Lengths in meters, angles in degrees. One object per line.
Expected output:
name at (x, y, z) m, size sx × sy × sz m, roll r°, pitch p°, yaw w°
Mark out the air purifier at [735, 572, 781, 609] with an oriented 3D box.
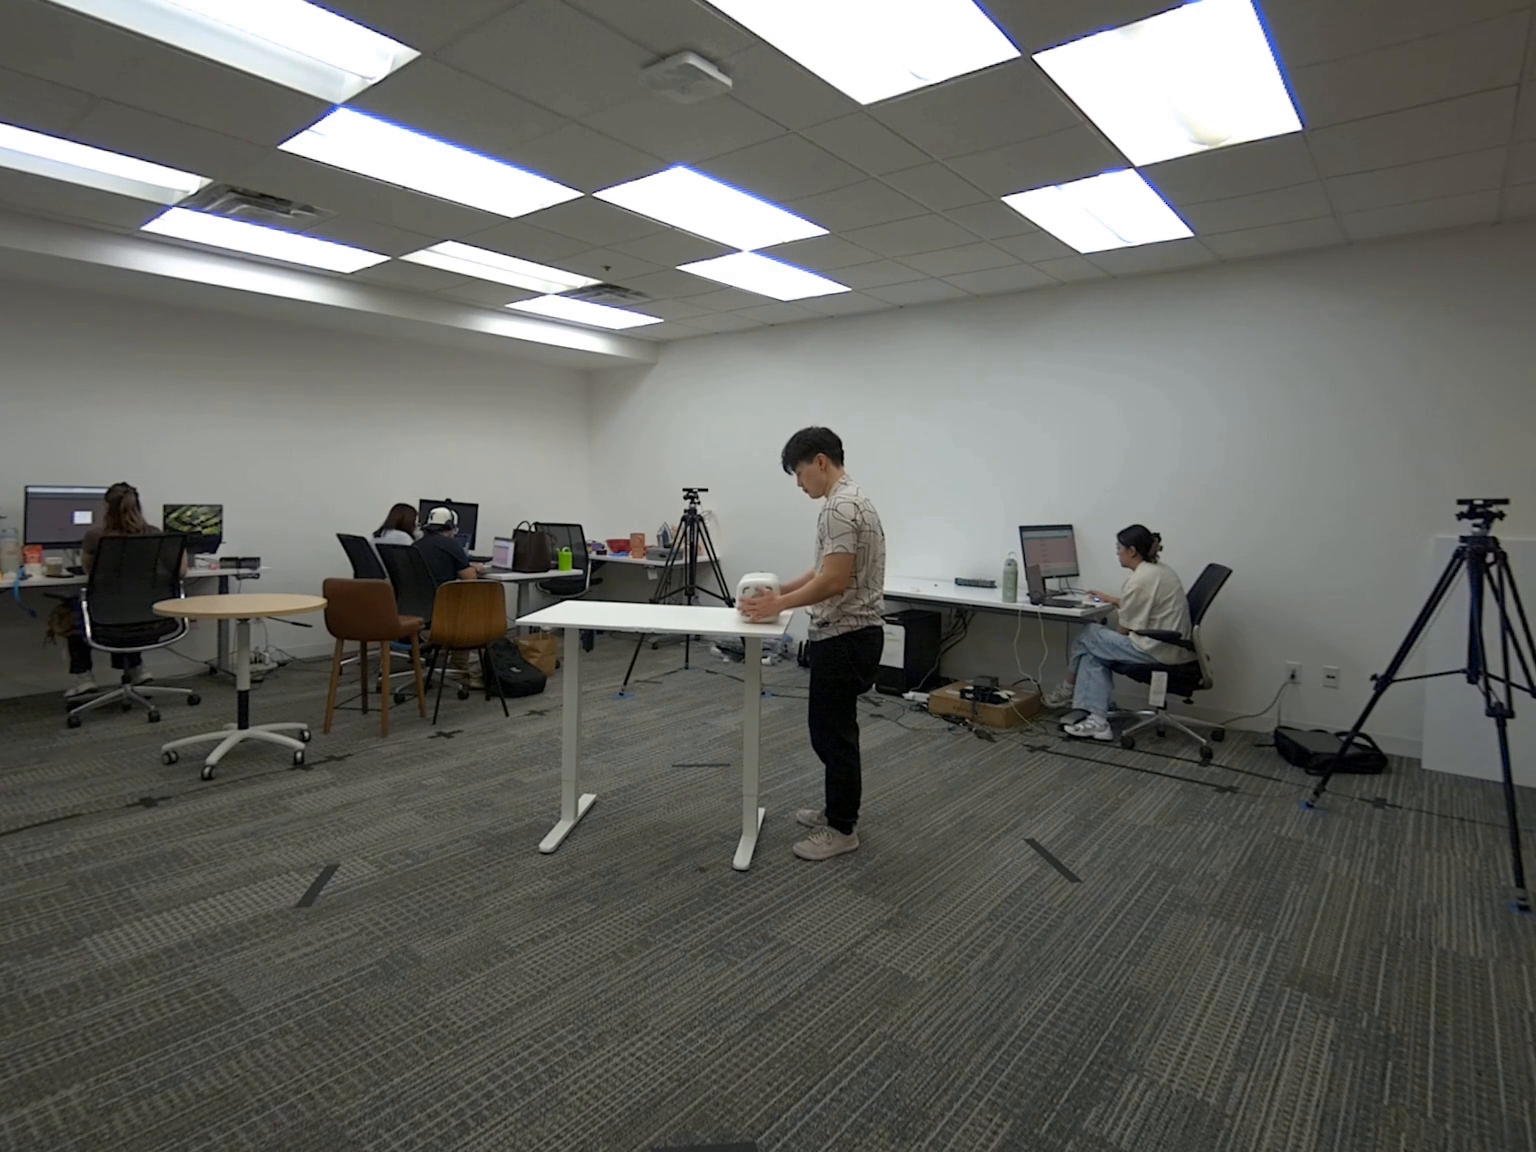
air purifier at (-0.045, 0.079, 3.371) m, size 0.172 × 0.170 × 0.266 m, roll 0°, pitch 6°, yaw 1°
